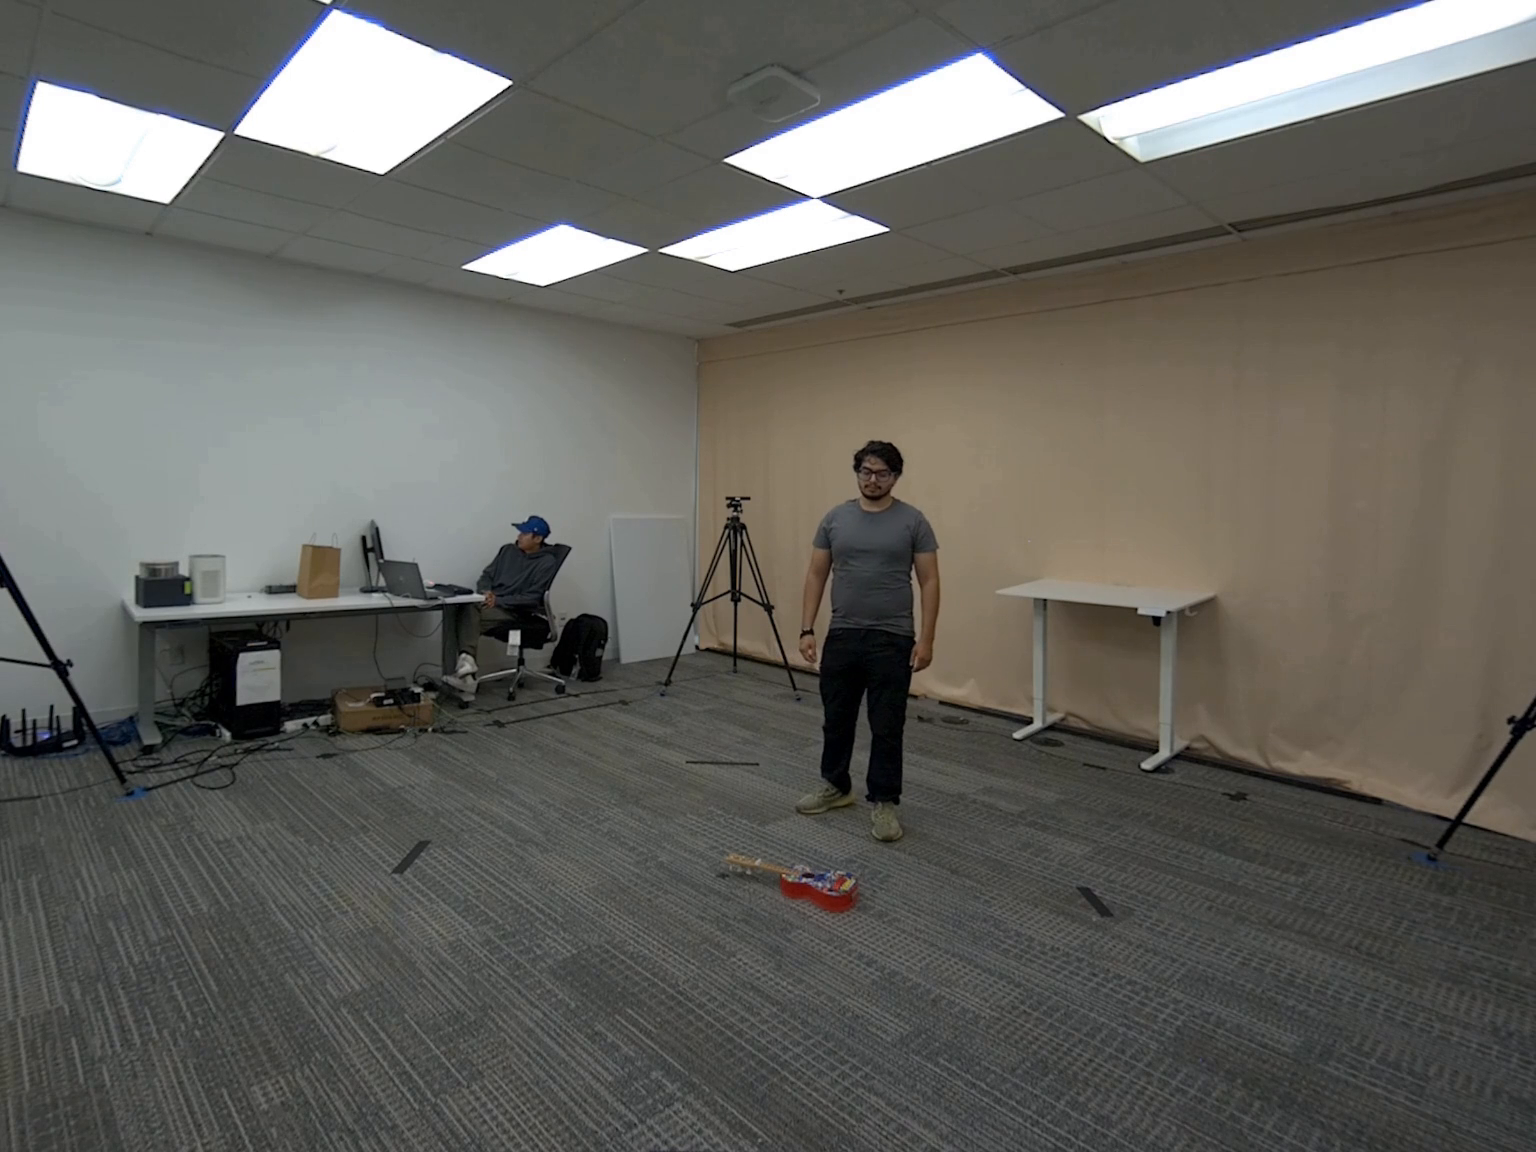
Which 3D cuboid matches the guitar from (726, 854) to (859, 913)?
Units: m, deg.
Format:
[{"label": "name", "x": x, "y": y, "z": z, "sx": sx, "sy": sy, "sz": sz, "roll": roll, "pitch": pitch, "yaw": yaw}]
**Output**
[{"label": "guitar", "x": 0.083, "y": 1.083, "z": 3.040, "sx": 0.510, "sy": 0.070, "sz": 0.189, "roll": 5, "pitch": 7, "yaw": 35}]
